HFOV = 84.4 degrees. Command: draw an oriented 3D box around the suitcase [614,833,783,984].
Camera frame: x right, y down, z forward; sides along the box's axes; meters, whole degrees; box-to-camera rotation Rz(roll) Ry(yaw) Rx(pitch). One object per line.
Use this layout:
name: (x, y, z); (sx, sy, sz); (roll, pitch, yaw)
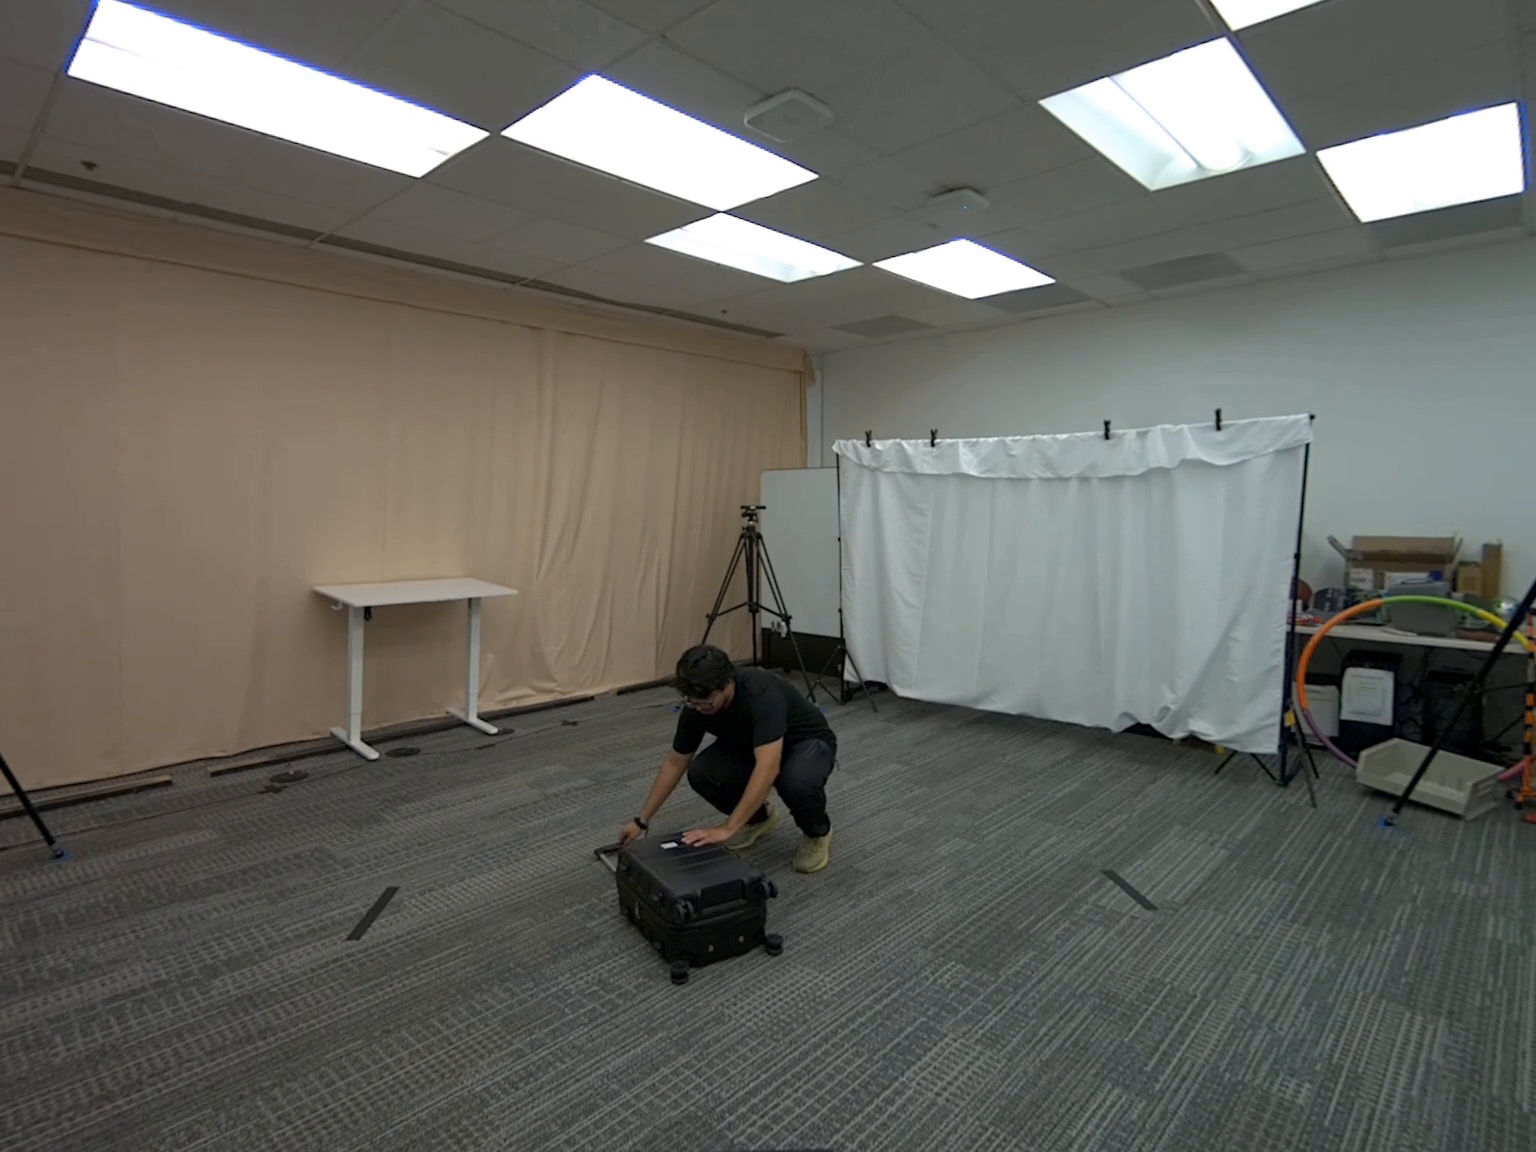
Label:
suitcase: (-0.361, 1.019, 2.939); (0.374, 0.256, 1.009); (-4, 7, -31)
